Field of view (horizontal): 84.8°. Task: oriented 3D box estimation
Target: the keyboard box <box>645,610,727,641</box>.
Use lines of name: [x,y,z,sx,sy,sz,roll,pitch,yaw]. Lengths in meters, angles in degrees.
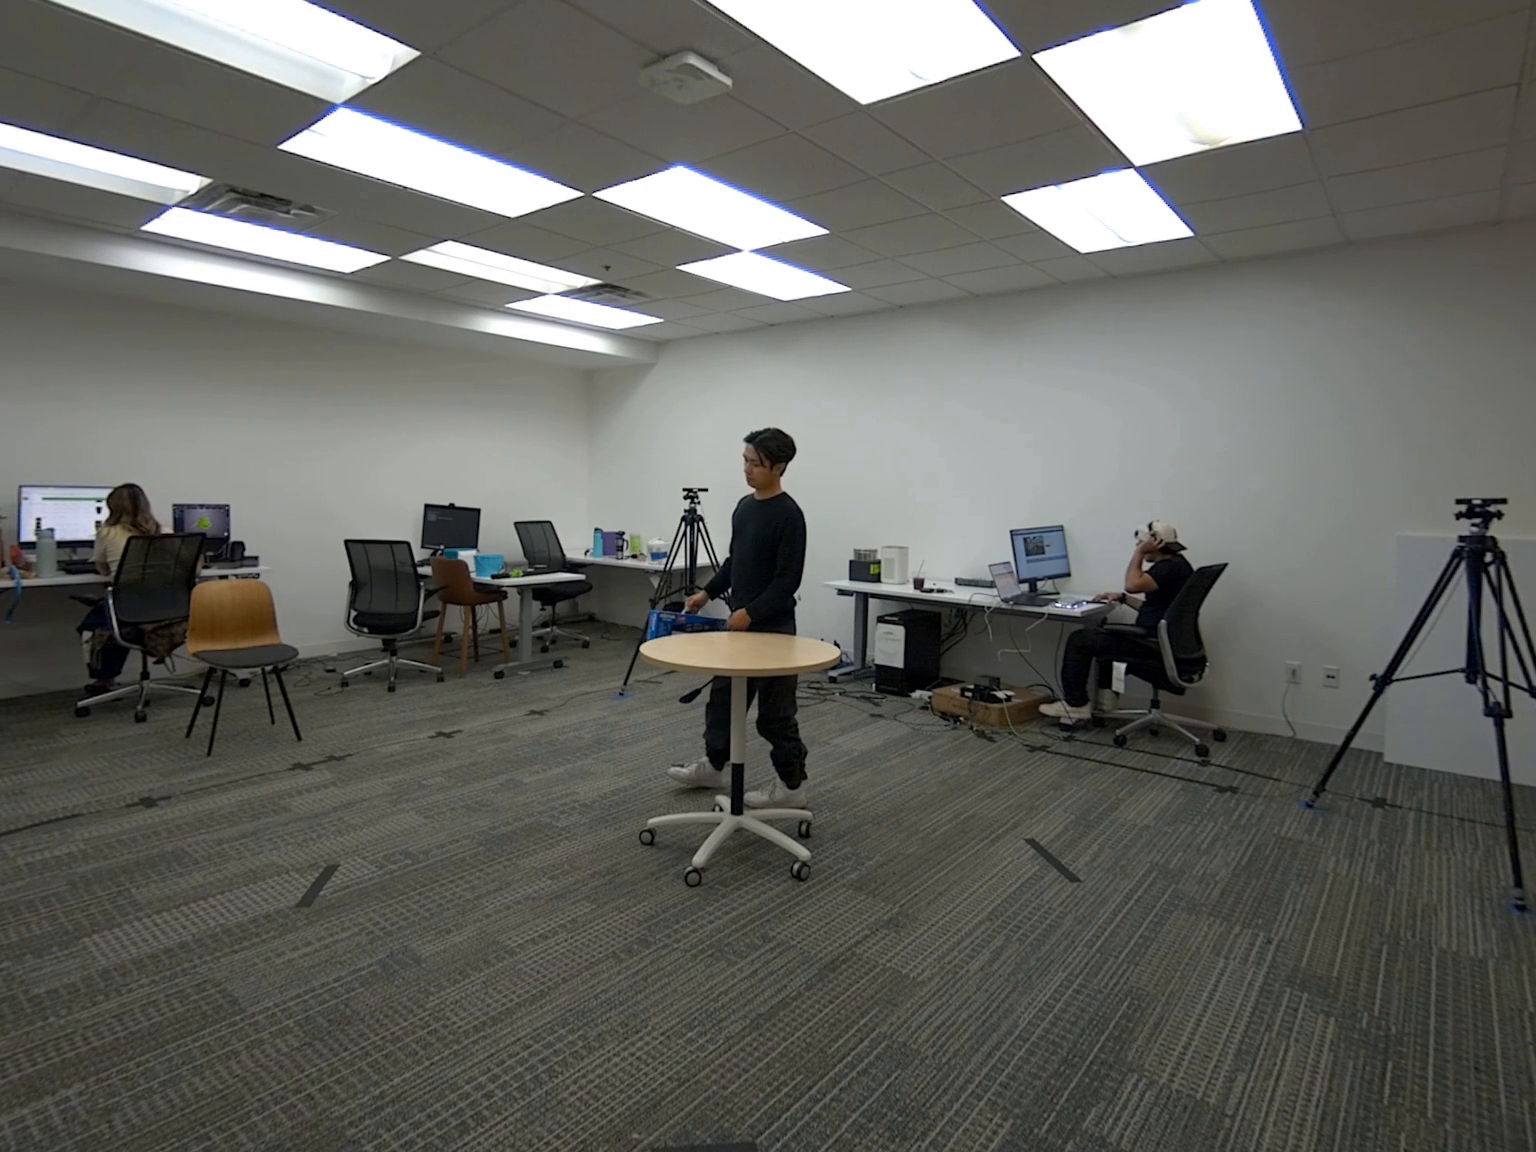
keyboard box: [-0.380,0.261,3.915,0.061,0.176,0.421,4,-4,45]
